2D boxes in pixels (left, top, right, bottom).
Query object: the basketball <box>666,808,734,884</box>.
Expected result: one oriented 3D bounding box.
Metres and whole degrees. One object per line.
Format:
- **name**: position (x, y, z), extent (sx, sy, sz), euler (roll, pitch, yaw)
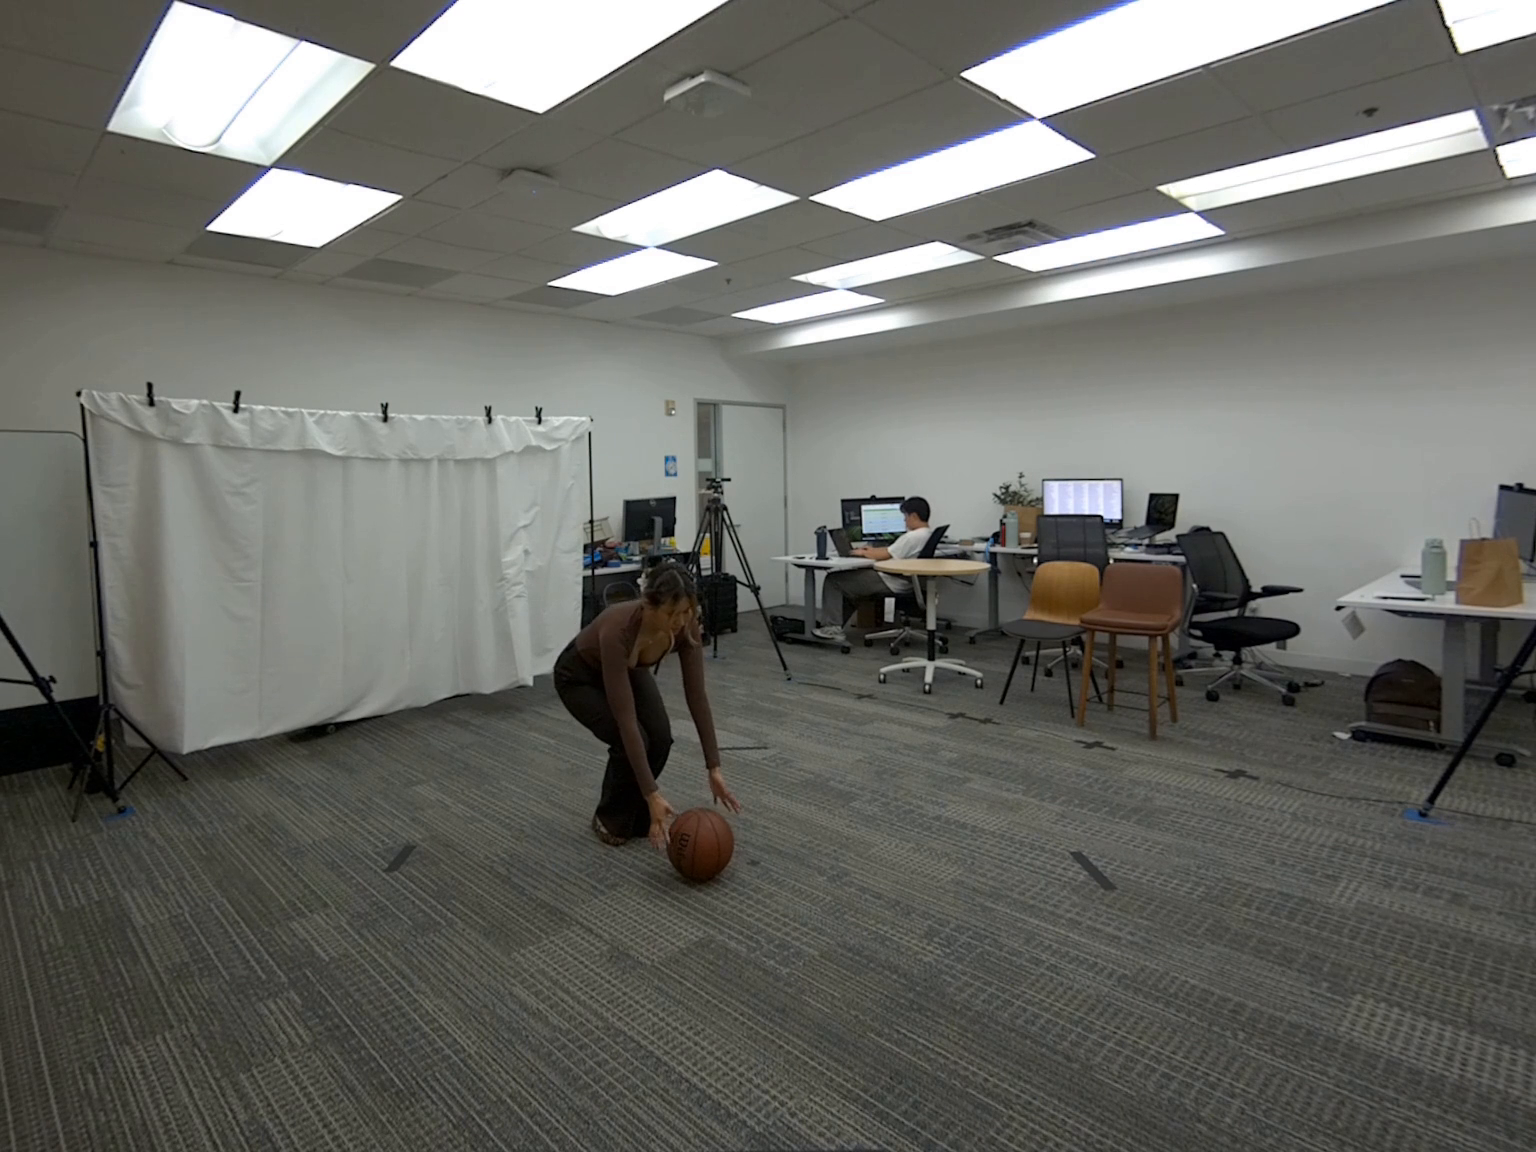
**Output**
- **basketball**: position (-0.232, 0.934, 3.000), extent (0.236, 0.235, 0.237), euler (-1, 5, -2)
